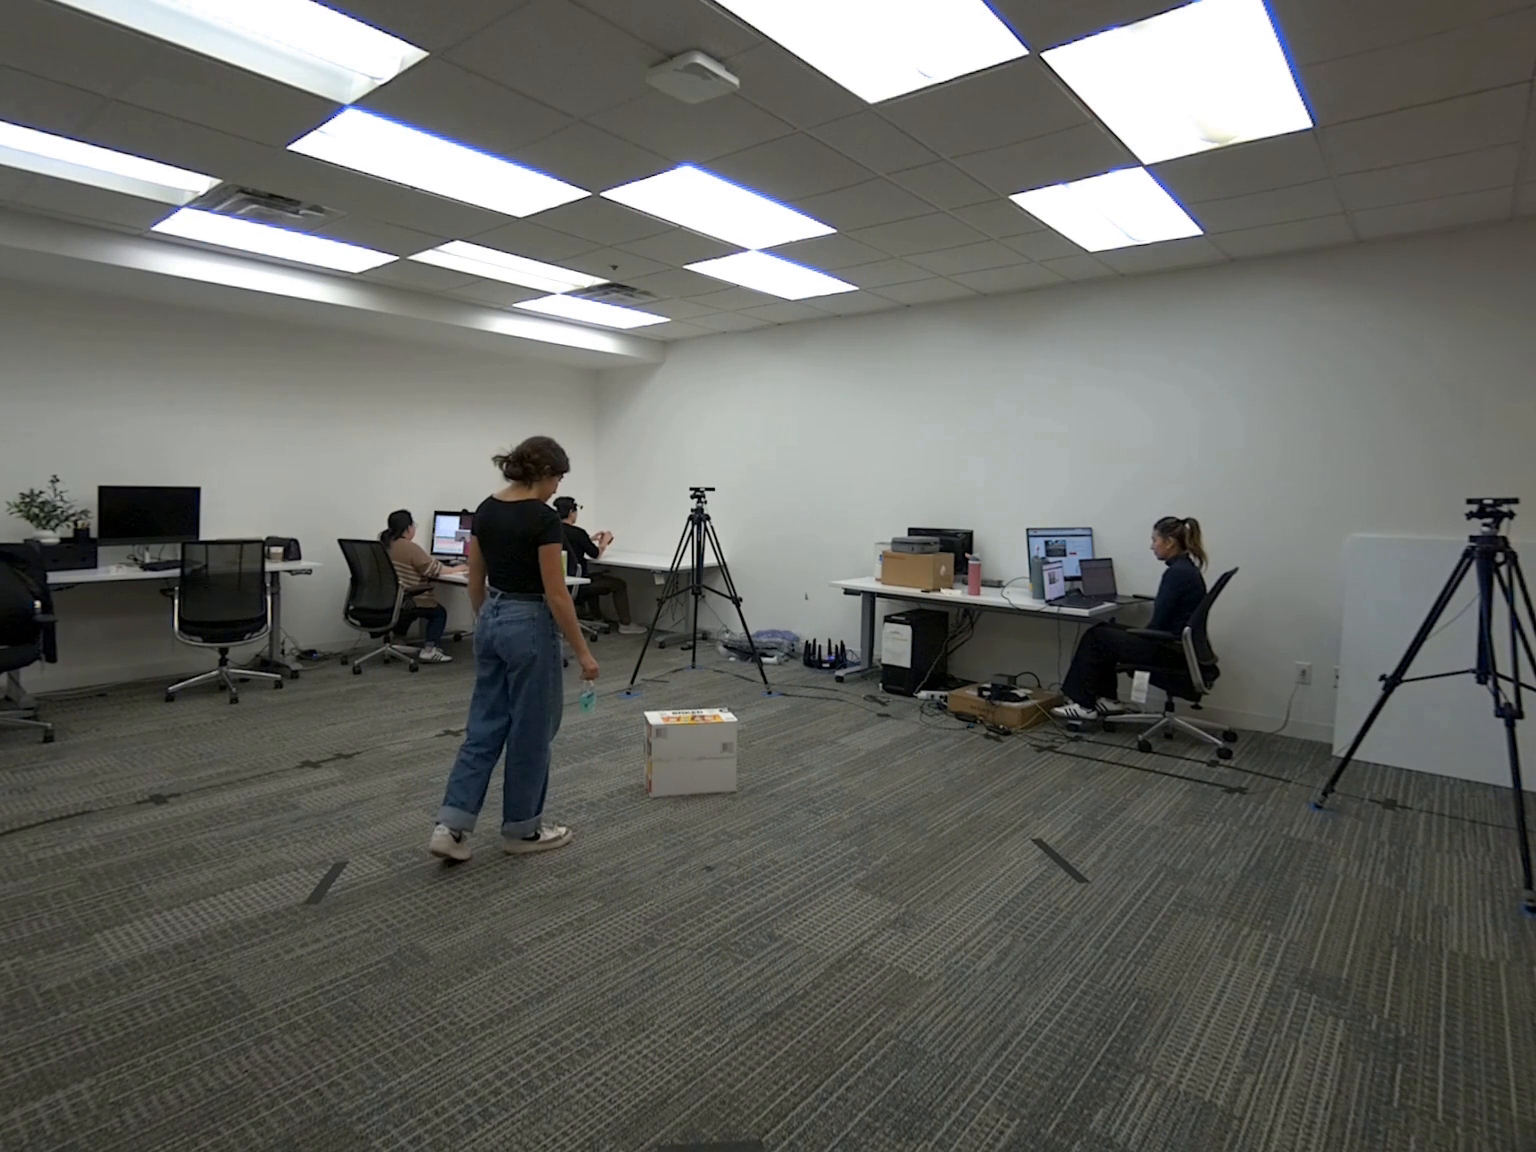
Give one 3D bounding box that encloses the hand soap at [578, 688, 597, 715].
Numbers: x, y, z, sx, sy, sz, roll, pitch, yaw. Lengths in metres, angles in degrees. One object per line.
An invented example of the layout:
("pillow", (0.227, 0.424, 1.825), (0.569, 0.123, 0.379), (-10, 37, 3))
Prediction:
("hand soap", (-0.716, 0.429, 3.167), (0.043, 0.166, 0.085), (-8, 14, 3))
